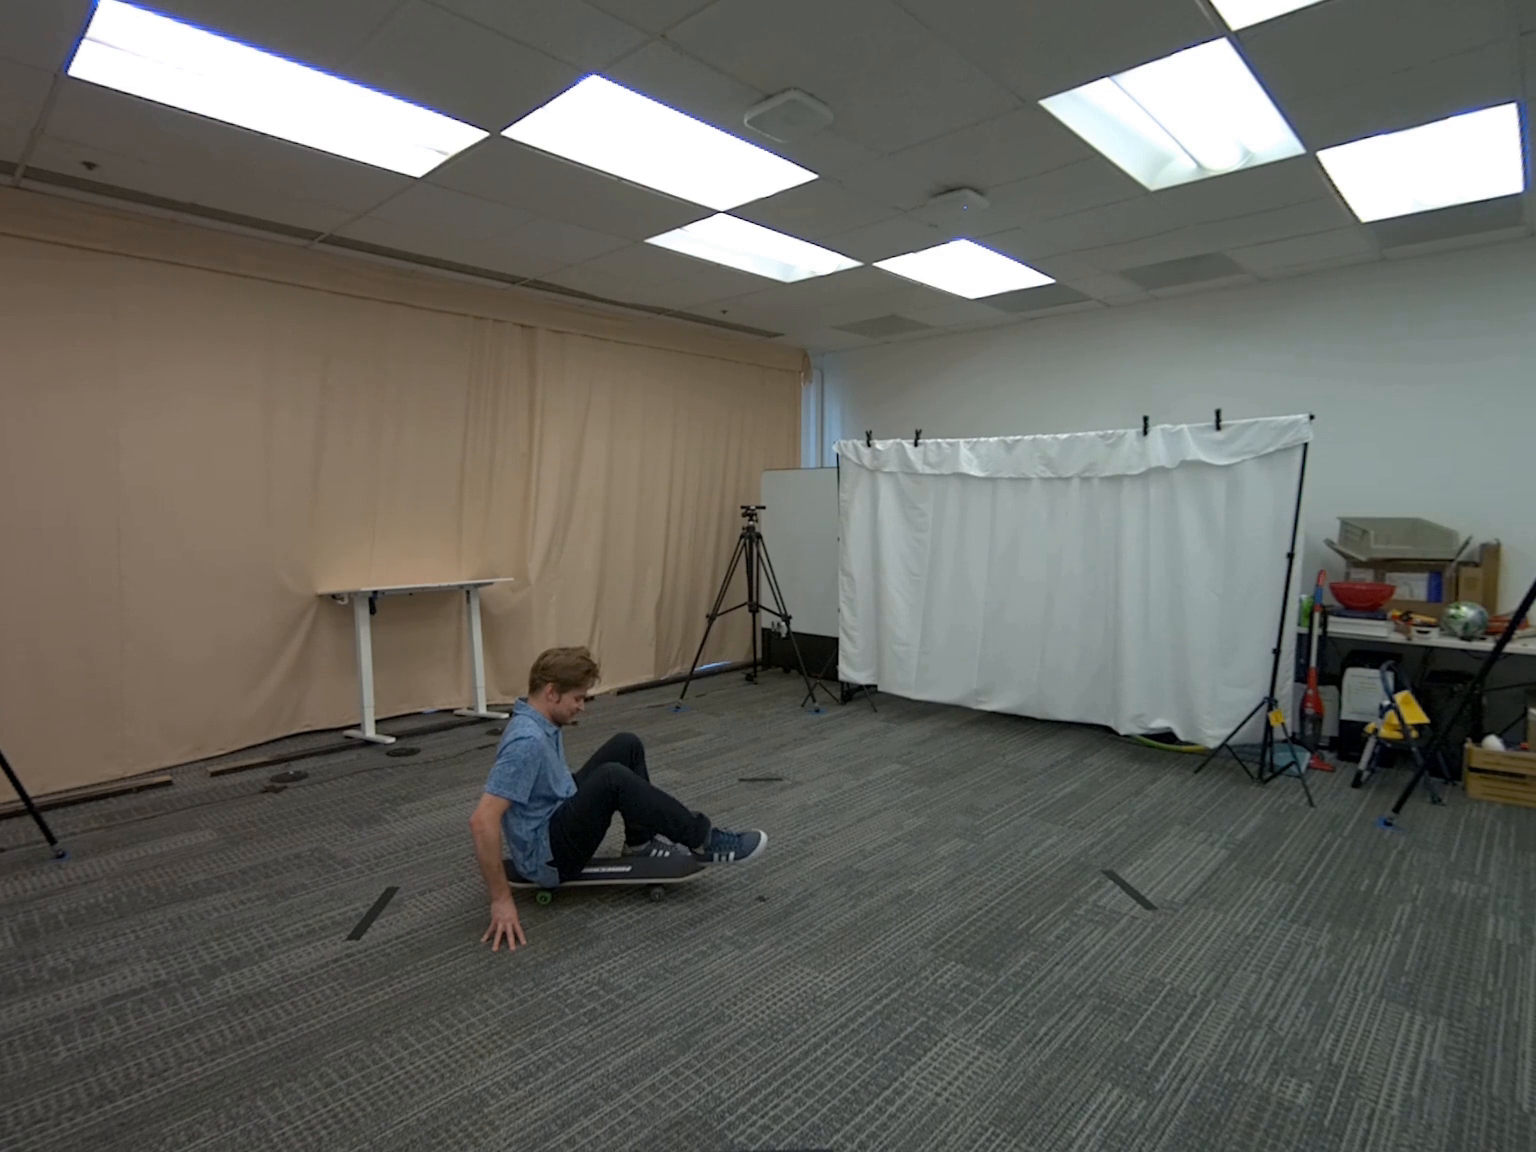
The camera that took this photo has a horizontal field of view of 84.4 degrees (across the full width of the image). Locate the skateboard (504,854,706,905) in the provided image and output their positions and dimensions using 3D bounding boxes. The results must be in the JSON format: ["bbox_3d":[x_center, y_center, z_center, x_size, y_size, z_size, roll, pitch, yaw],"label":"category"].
[{"bbox_3d":[-0.599,1.098,3.033,0.784,0.110,0.194,-2,5,-2],"label":"skateboard"}]
